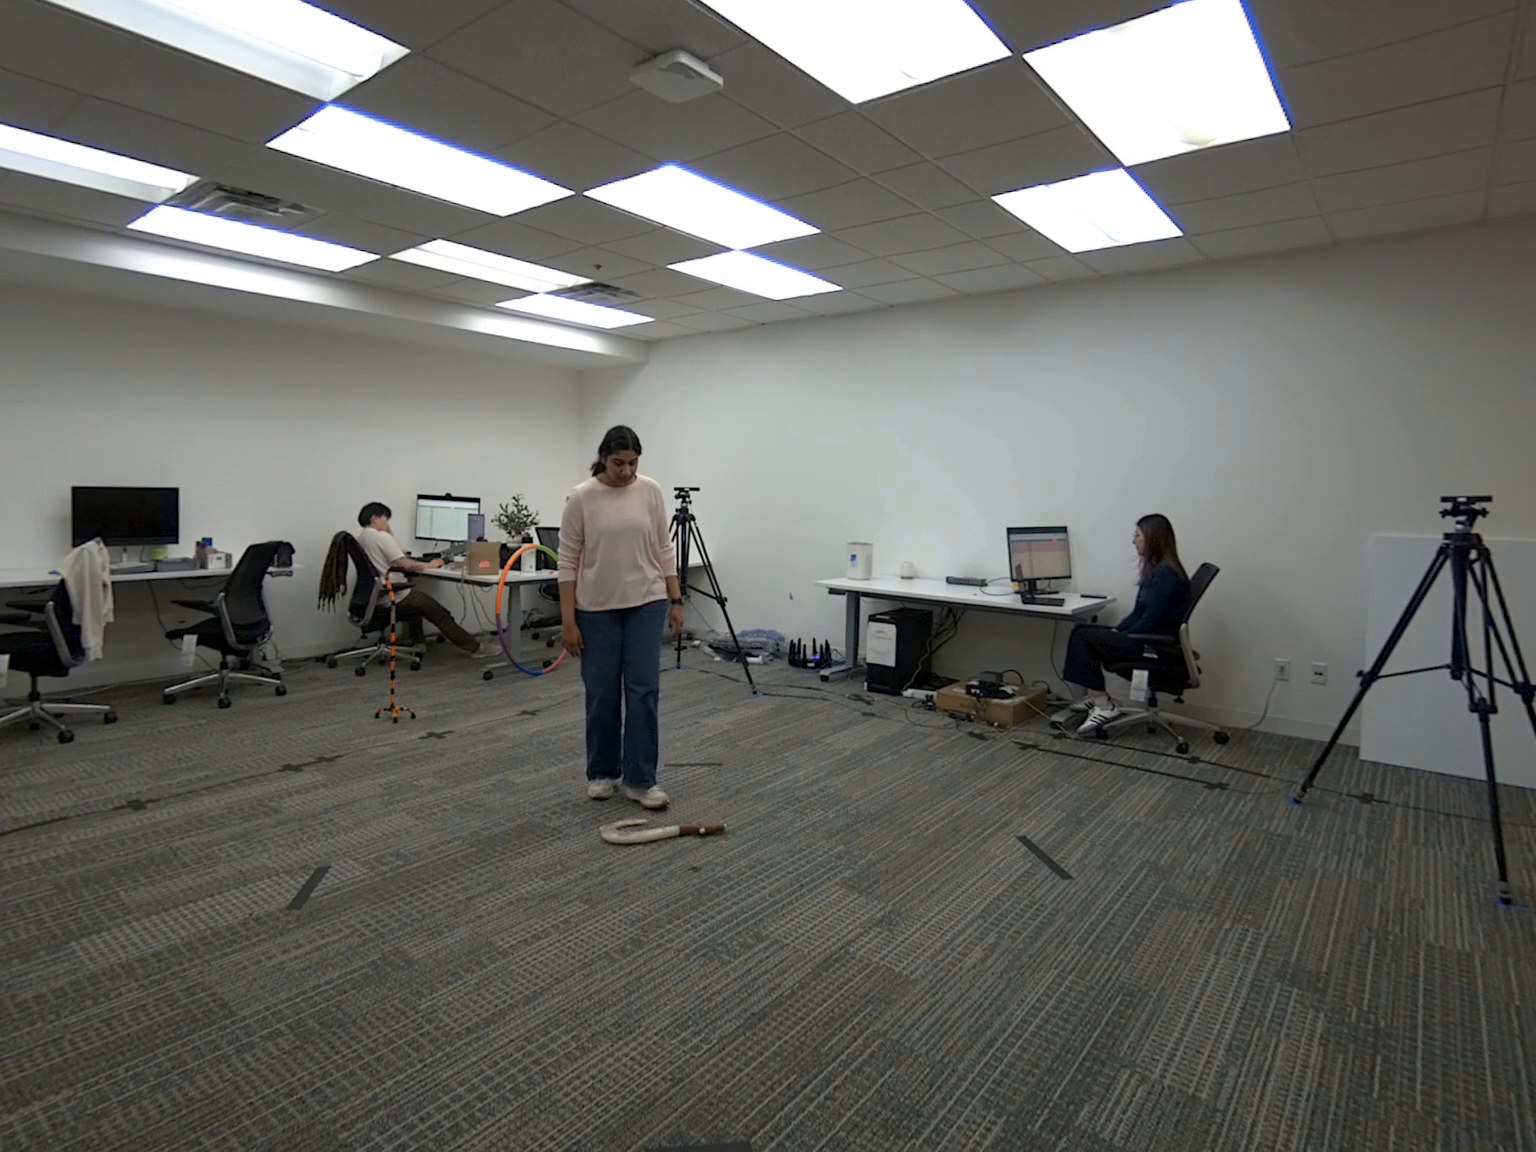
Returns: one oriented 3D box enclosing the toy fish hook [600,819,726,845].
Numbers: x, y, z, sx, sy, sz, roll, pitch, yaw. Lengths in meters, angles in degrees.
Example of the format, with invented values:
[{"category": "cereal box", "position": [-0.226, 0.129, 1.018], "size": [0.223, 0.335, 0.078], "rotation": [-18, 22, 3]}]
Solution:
[{"category": "toy fish hook", "position": [-0.428, 1.009, 3.431], "size": [0.499, 0.048, 0.229], "rotation": [-1, 7, -15]}]
